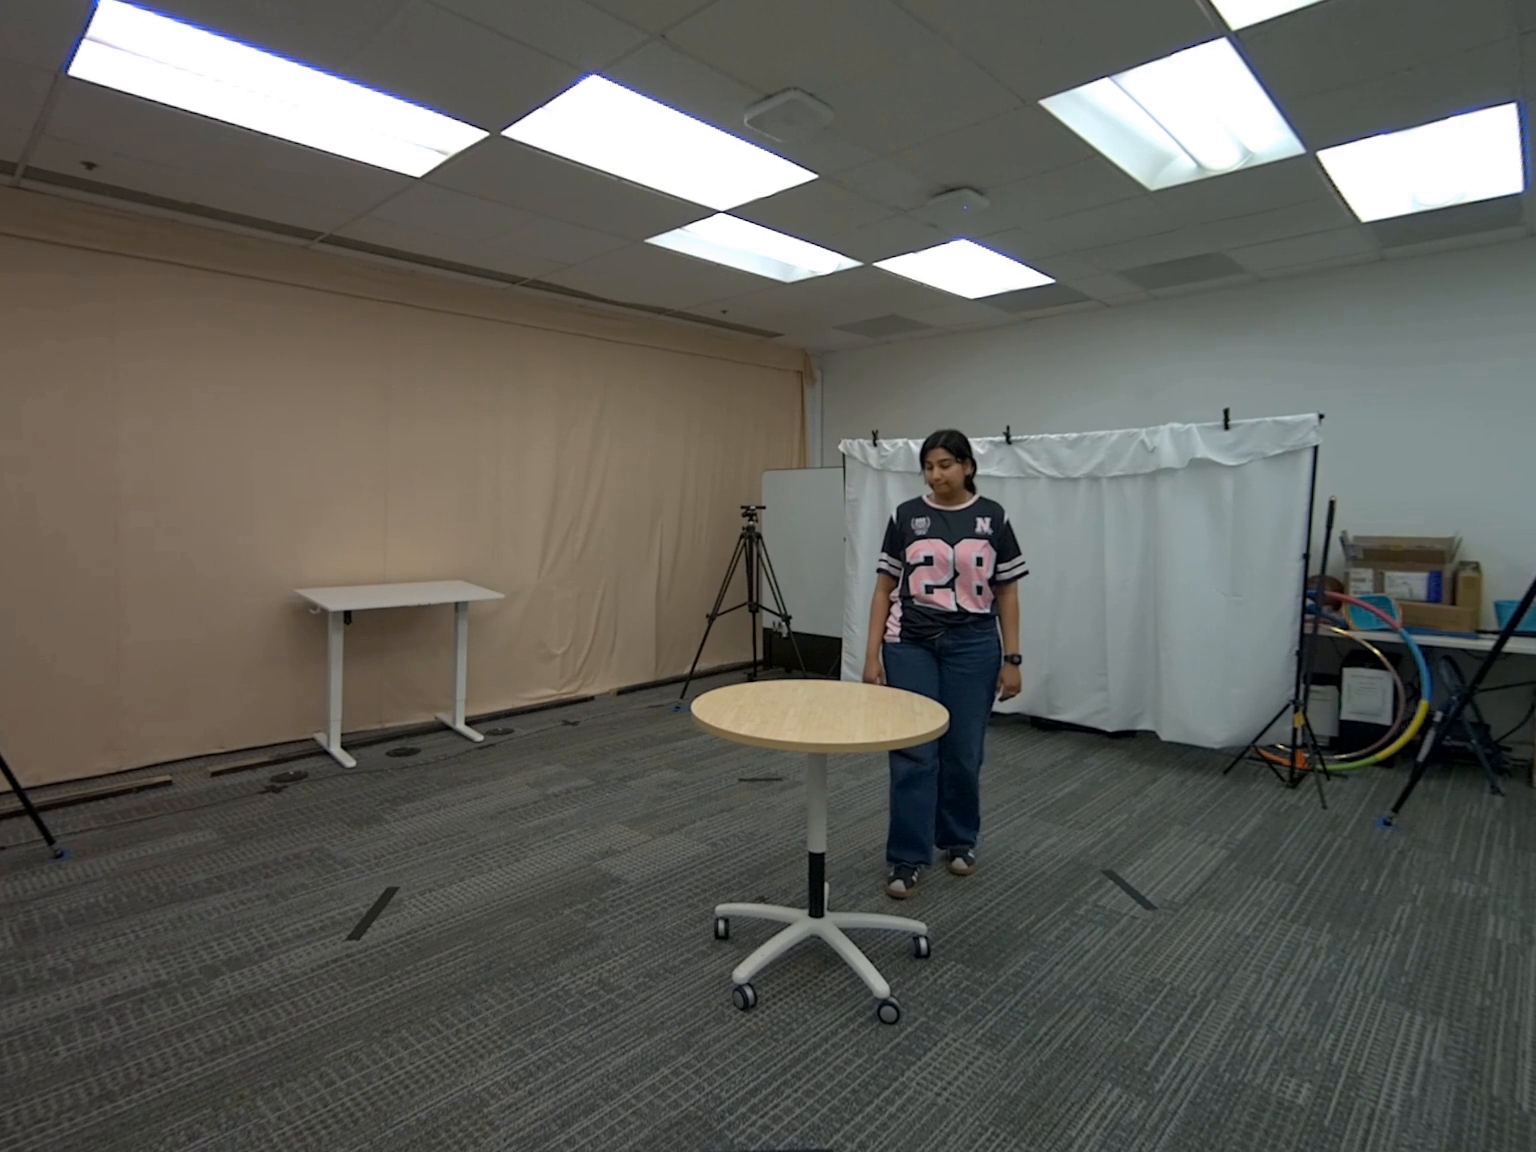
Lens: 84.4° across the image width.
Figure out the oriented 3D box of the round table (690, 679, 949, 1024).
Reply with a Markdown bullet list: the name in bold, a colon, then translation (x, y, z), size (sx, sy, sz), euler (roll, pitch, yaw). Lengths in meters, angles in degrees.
- **round table**: translation (0.164, 0.787, 2.555), size (0.784, 0.785, 0.788), euler (0, 4, -2)
